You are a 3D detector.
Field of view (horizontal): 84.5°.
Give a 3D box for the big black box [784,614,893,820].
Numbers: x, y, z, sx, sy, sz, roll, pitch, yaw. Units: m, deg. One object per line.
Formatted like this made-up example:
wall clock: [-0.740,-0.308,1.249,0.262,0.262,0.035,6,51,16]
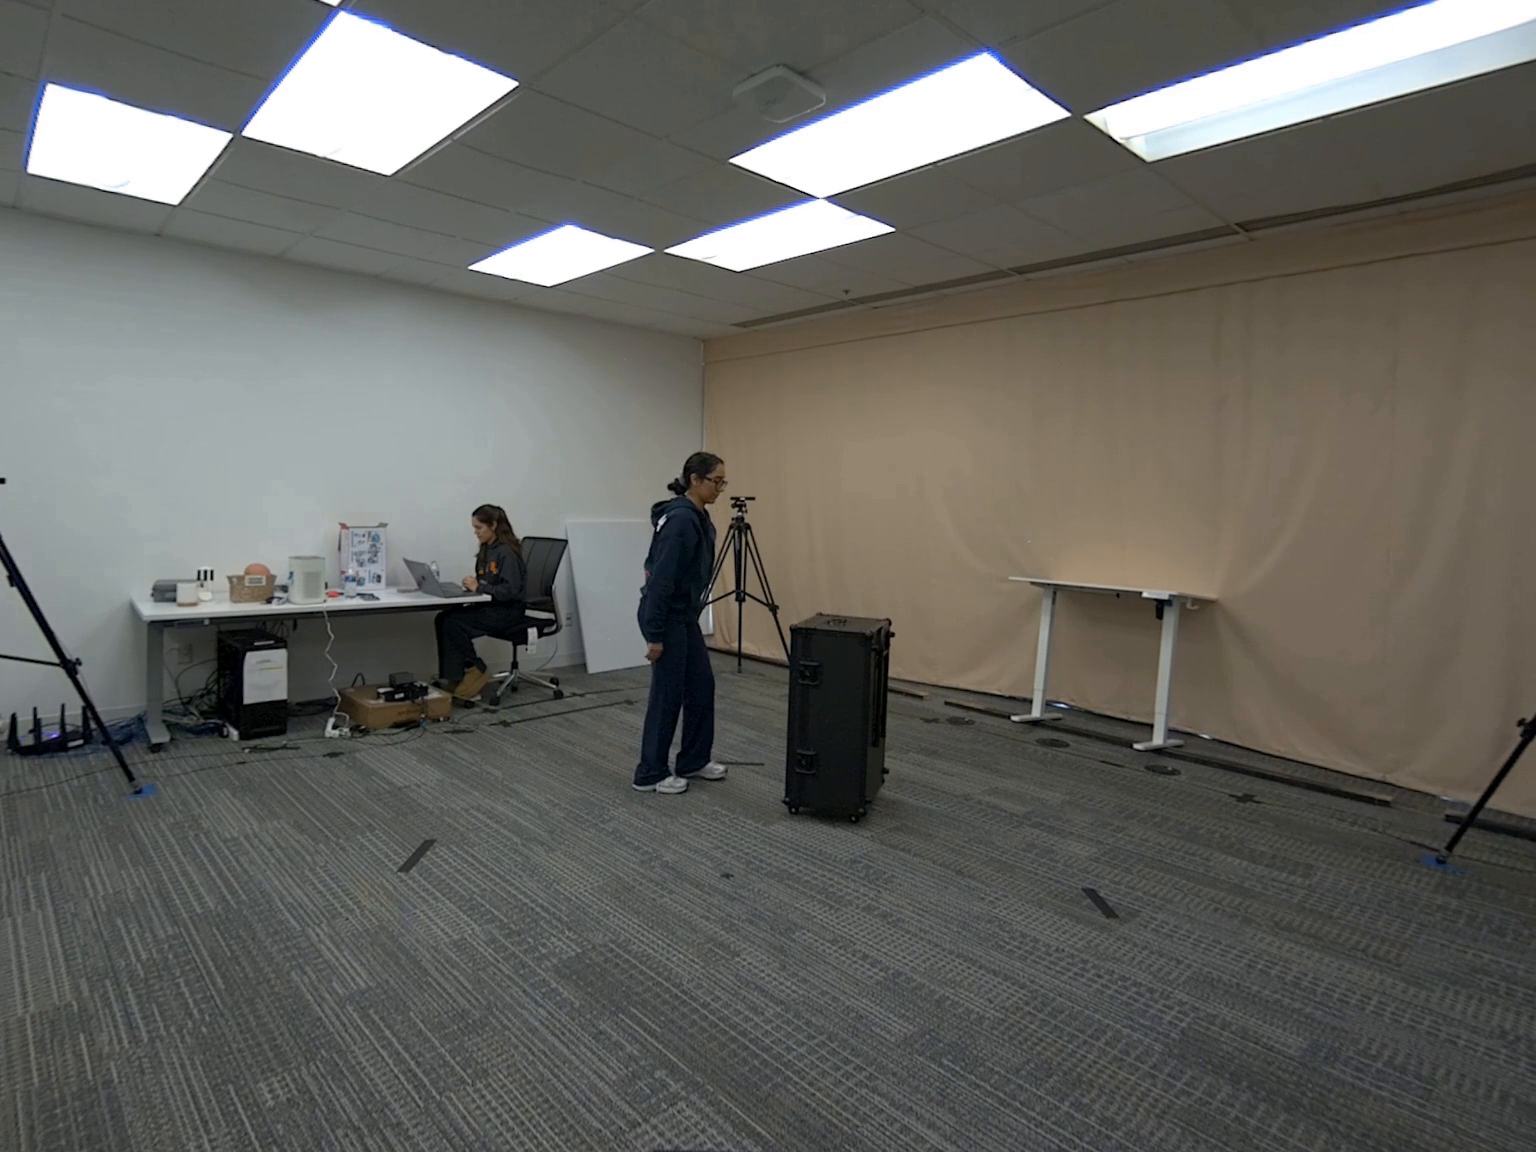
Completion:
big black box: [0.320,0.629,3.810,0.402,0.859,0.514,4,4,18]
